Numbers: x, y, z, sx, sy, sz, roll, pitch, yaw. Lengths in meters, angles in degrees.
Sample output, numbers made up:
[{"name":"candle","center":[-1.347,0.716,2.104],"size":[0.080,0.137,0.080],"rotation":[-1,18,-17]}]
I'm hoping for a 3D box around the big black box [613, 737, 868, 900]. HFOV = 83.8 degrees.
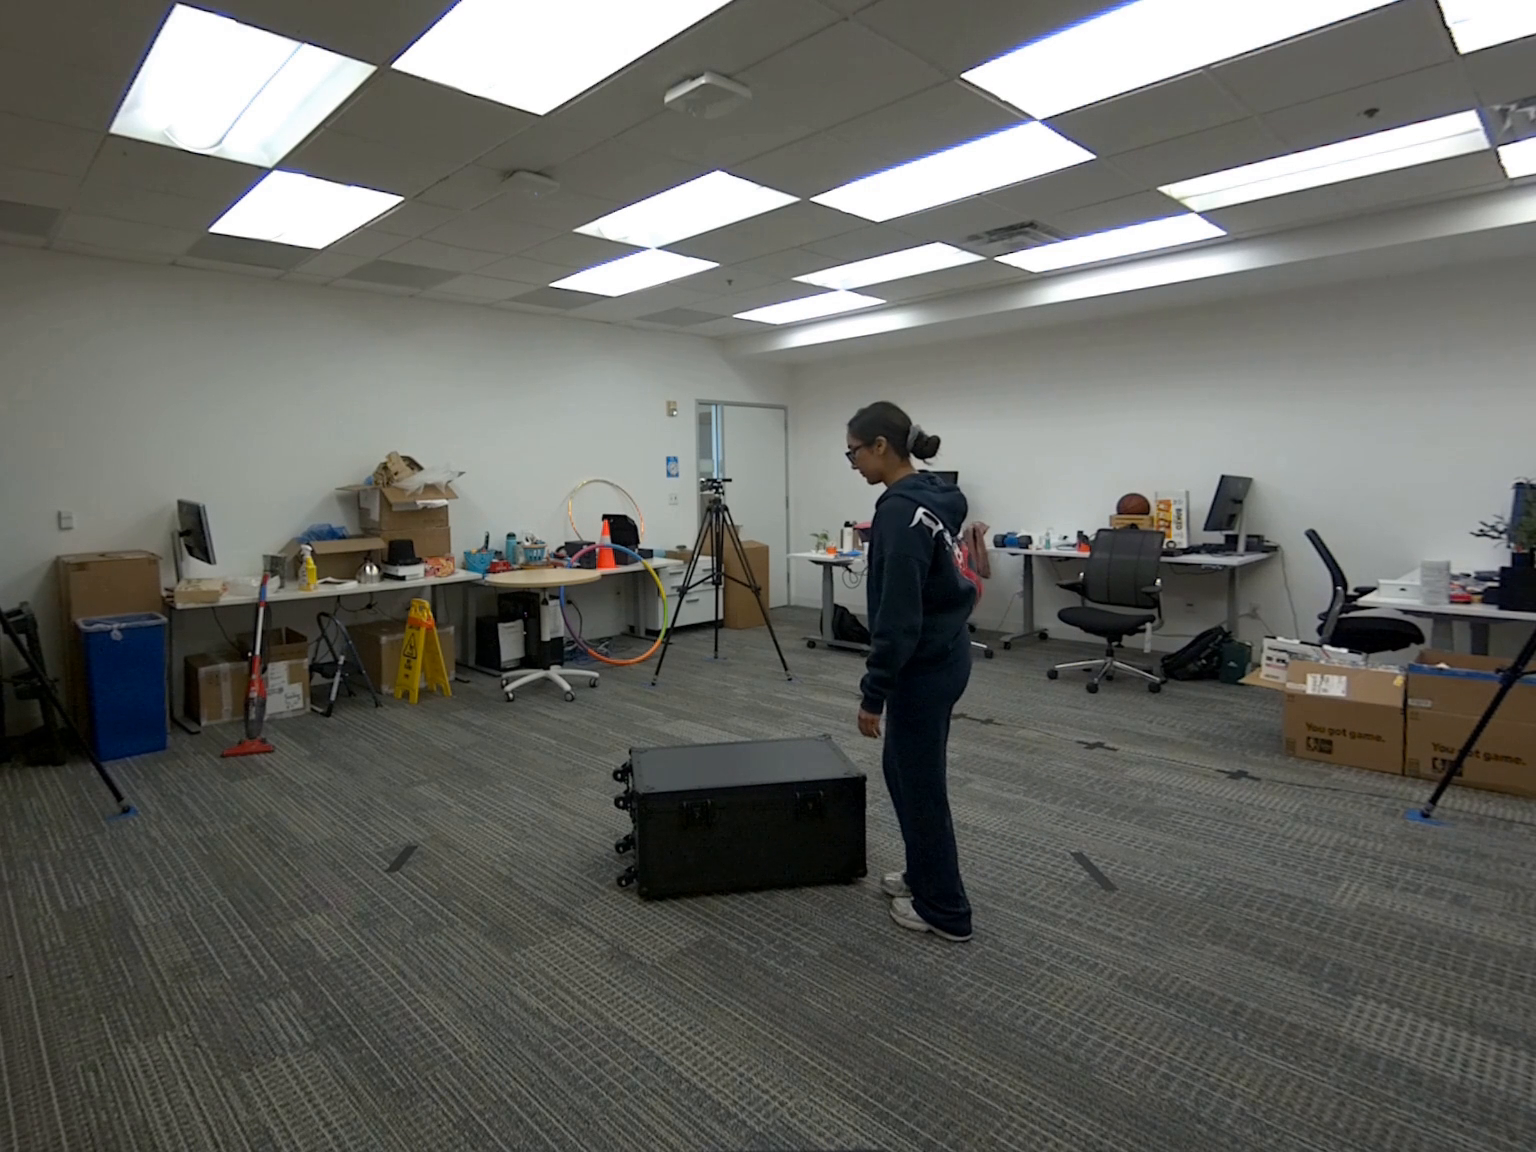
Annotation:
[{"name":"big black box","center":[-0.128,0.856,3.096],"size":[0.854,0.395,0.528],"rotation":[-2,5,-10]}]
